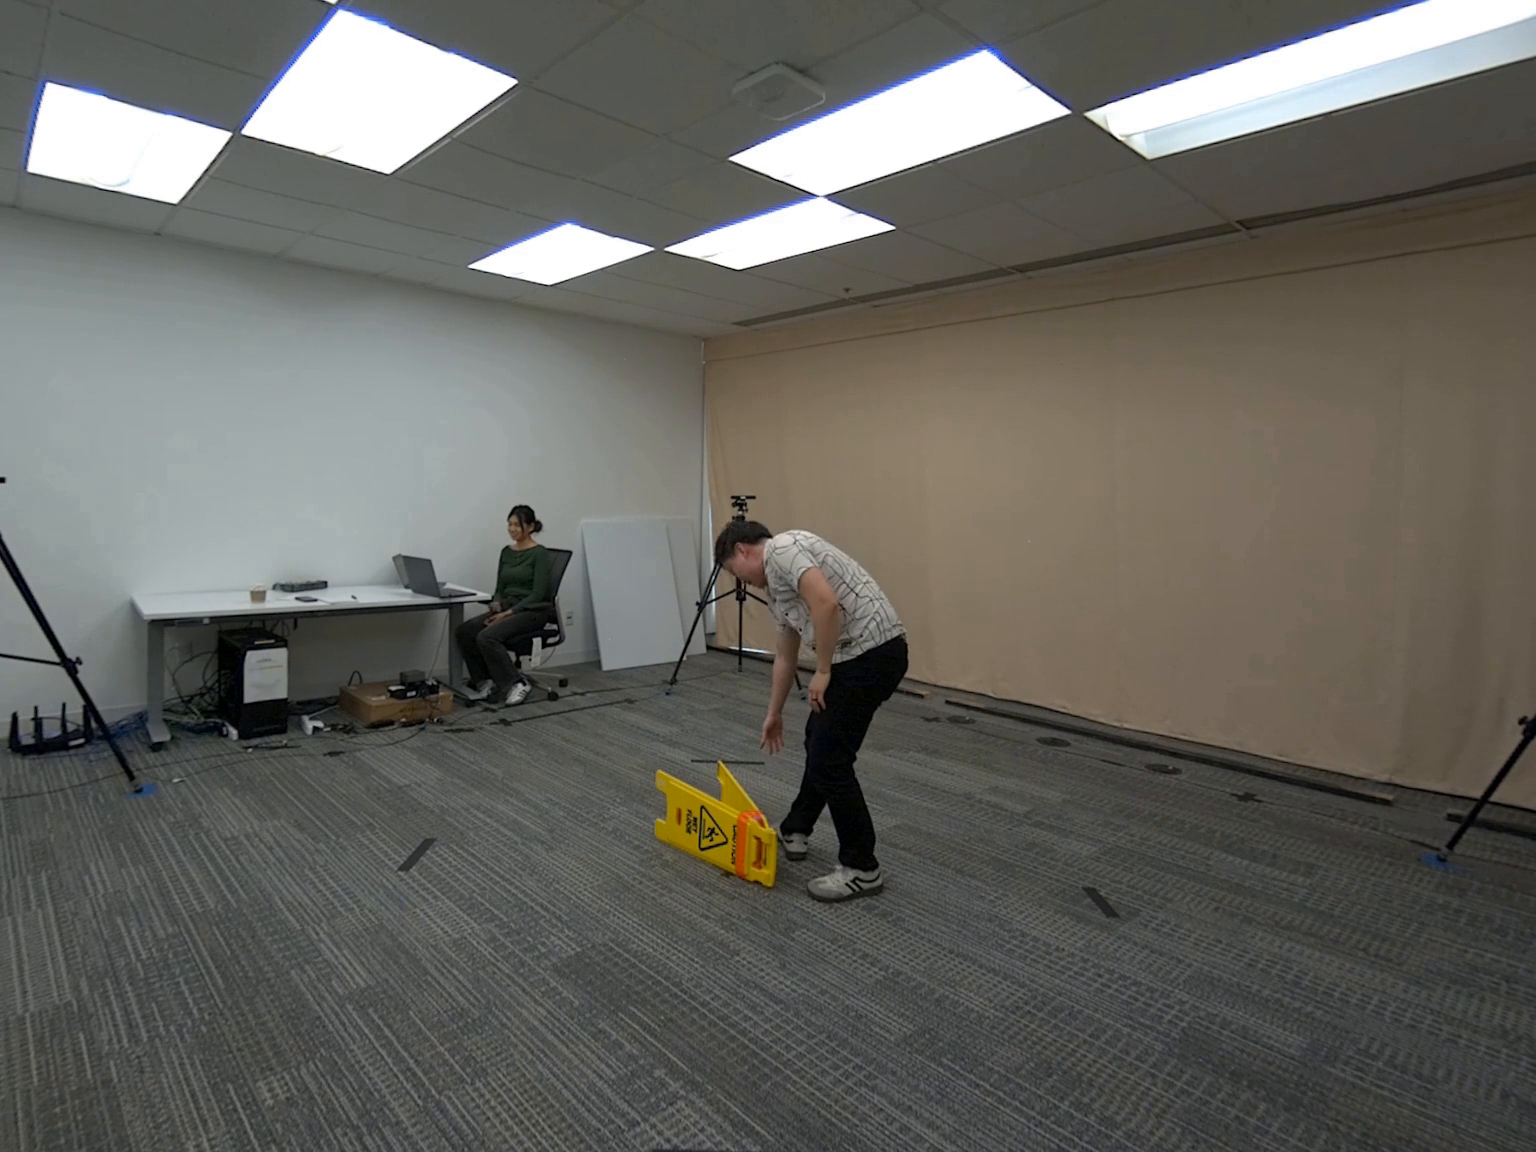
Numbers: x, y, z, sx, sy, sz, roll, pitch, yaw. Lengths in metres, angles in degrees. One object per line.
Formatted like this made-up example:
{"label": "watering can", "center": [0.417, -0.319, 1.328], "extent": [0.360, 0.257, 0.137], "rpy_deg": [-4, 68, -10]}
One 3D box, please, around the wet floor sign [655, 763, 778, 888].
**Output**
{"label": "wet floor sign", "center": [-0.164, 0.962, 3.229], "extent": [0.284, 0.281, 0.662], "rpy_deg": [-1, 7, -32]}
